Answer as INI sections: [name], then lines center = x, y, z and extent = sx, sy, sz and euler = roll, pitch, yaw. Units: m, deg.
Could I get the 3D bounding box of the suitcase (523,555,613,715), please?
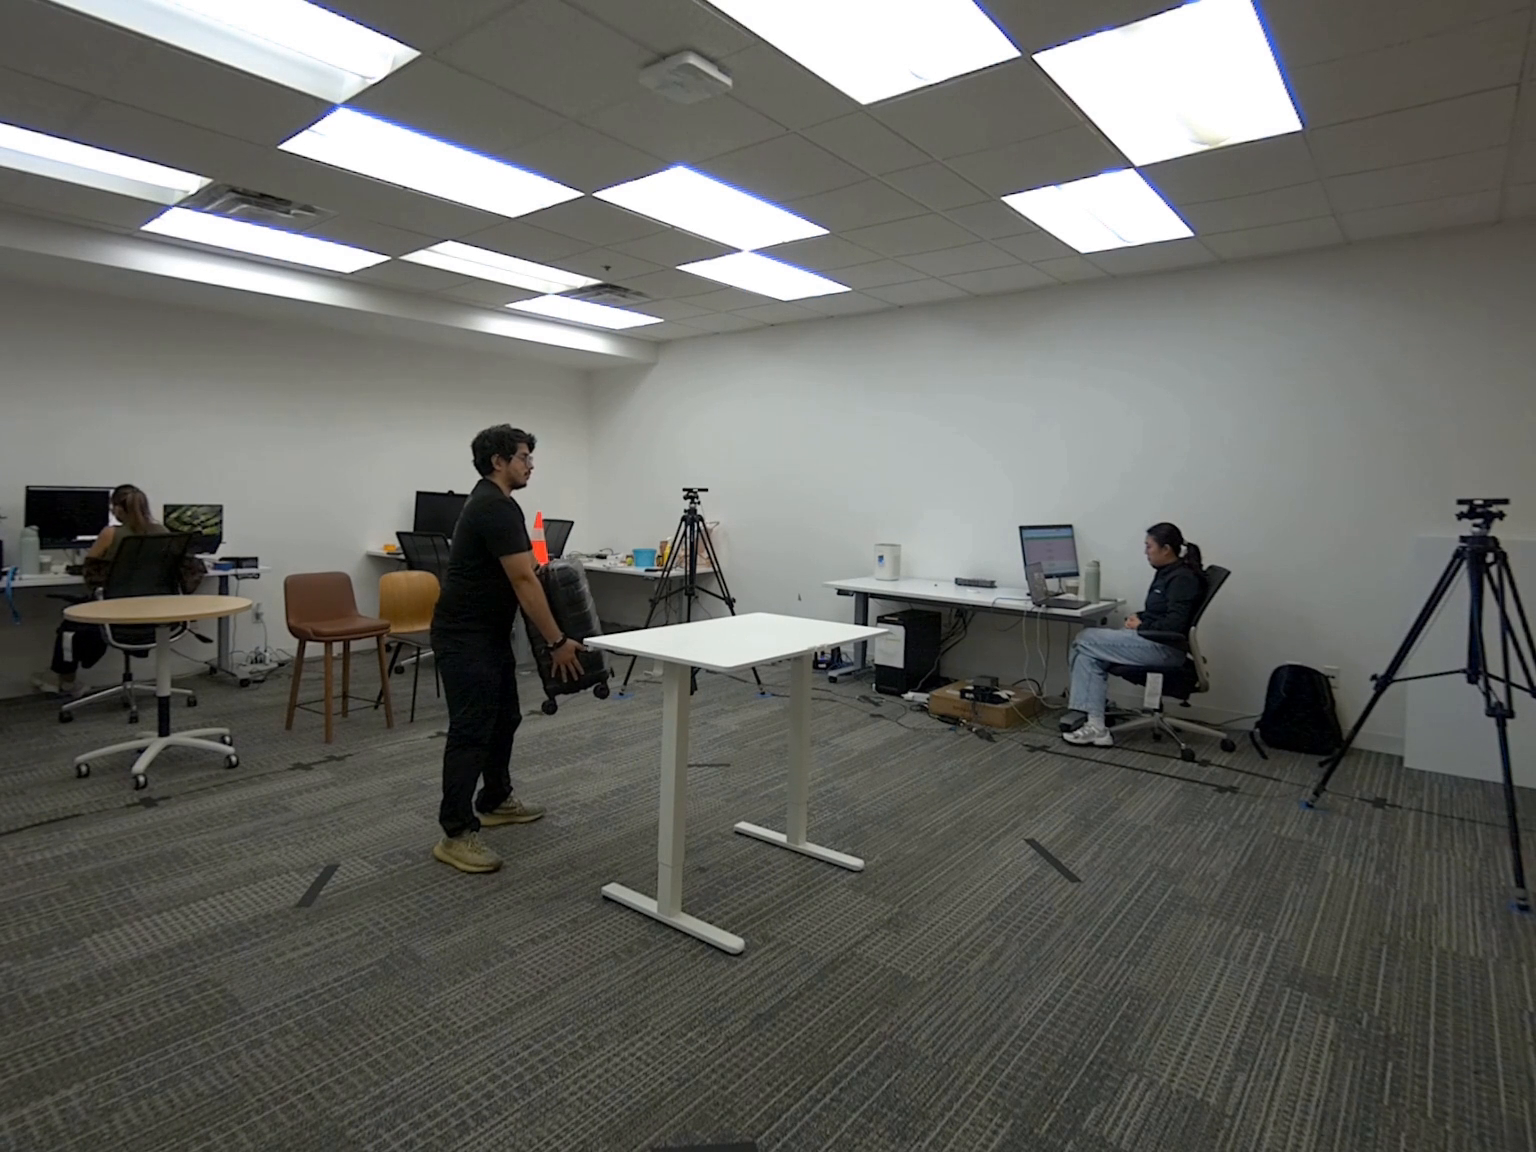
[suitcase]
center = -0.830, 0.208, 3.395
extent = 0.247, 0.546, 0.379
euler = -14, 5, -5
